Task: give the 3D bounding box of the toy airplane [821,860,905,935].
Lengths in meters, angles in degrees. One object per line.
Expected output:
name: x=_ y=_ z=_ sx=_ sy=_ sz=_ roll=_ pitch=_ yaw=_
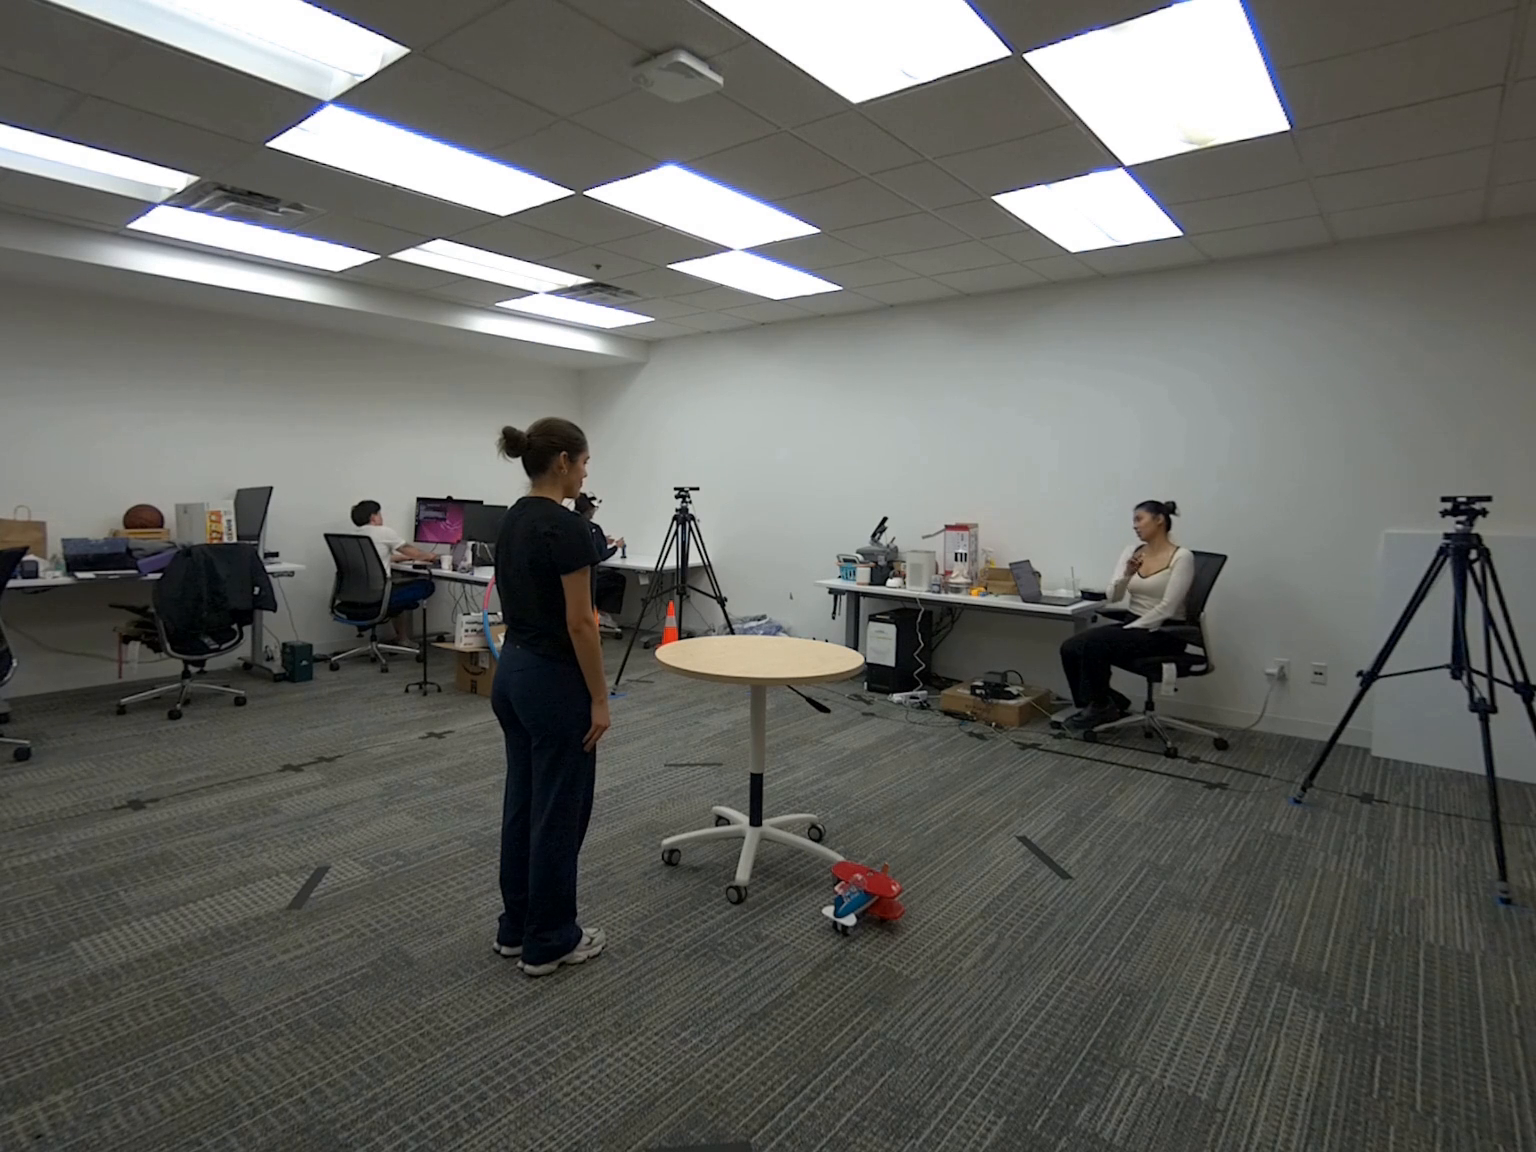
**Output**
toy airplane: x=0.320 y=1.038 z=2.733 sx=0.256 sy=0.156 sz=0.255 roll=3 pitch=3 yaw=16
